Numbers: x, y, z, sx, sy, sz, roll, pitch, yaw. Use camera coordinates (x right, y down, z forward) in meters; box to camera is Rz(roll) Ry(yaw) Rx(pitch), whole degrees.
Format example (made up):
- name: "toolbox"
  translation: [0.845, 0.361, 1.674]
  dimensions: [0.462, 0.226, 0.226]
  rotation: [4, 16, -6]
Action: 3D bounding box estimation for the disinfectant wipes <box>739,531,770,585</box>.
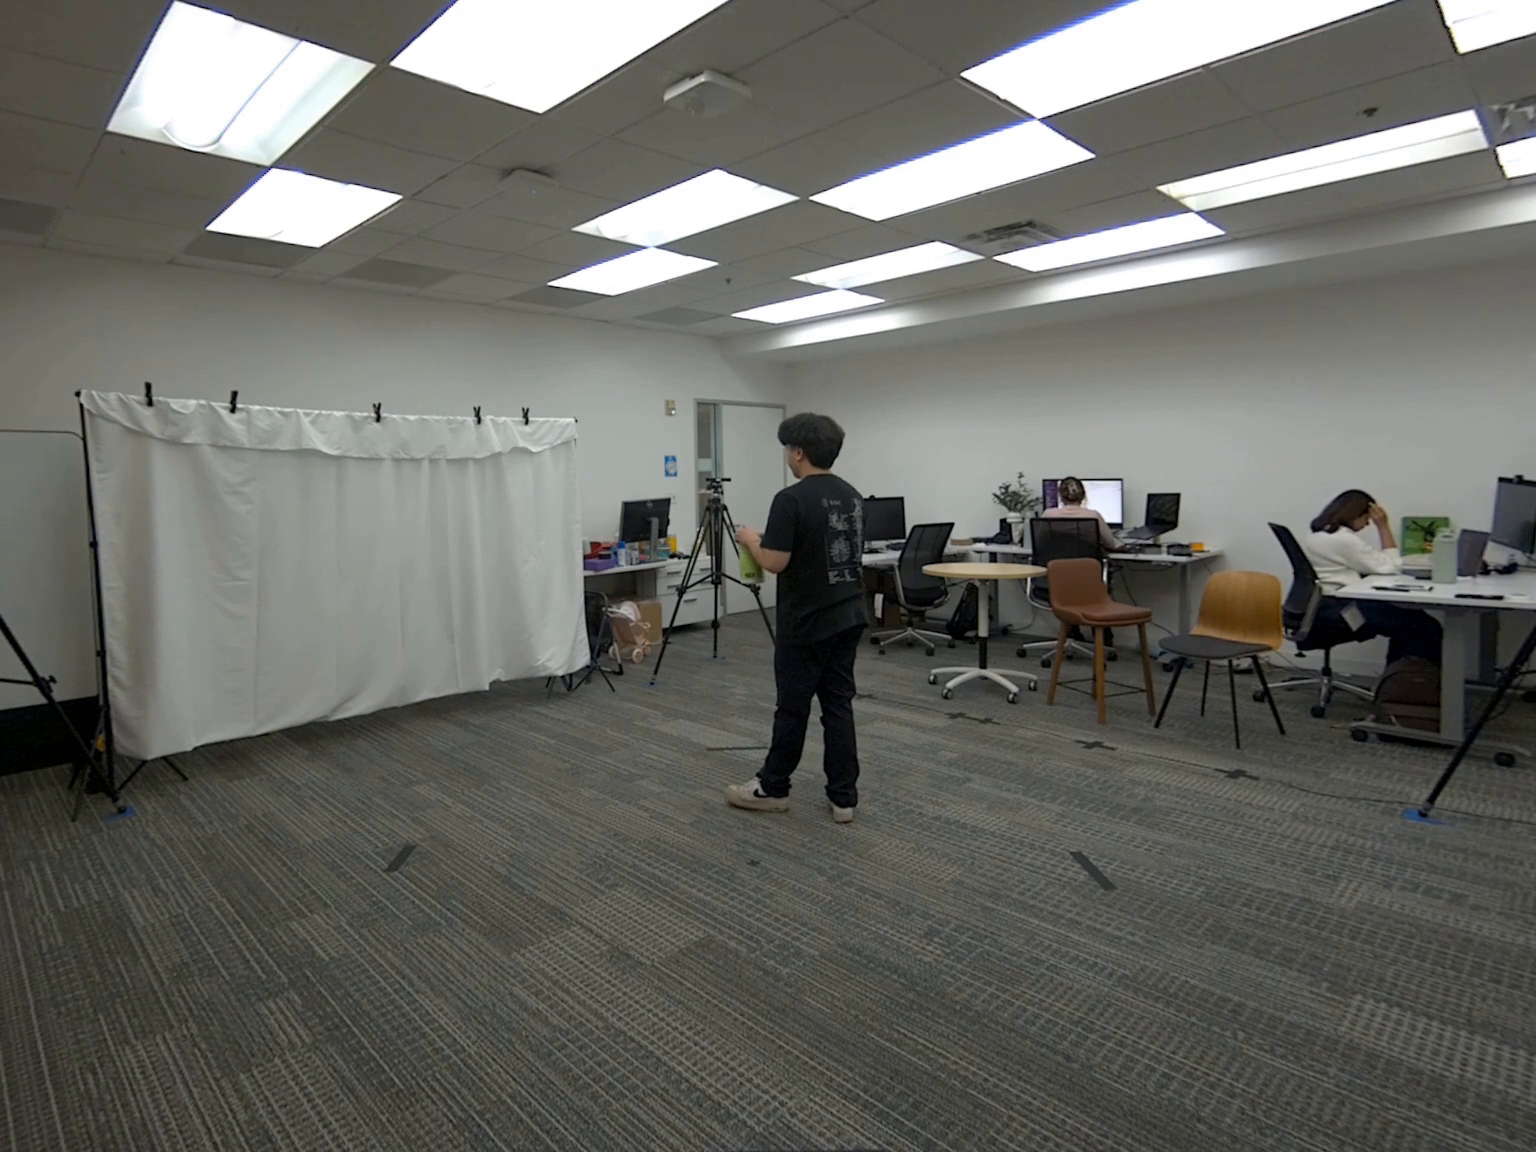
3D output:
- name: "disinfectant wipes"
  translation: [-0.062, -0.080, 3.726]
  dimensions: [0.118, 0.217, 0.118]
  rotation: [-3, 2, -2]
